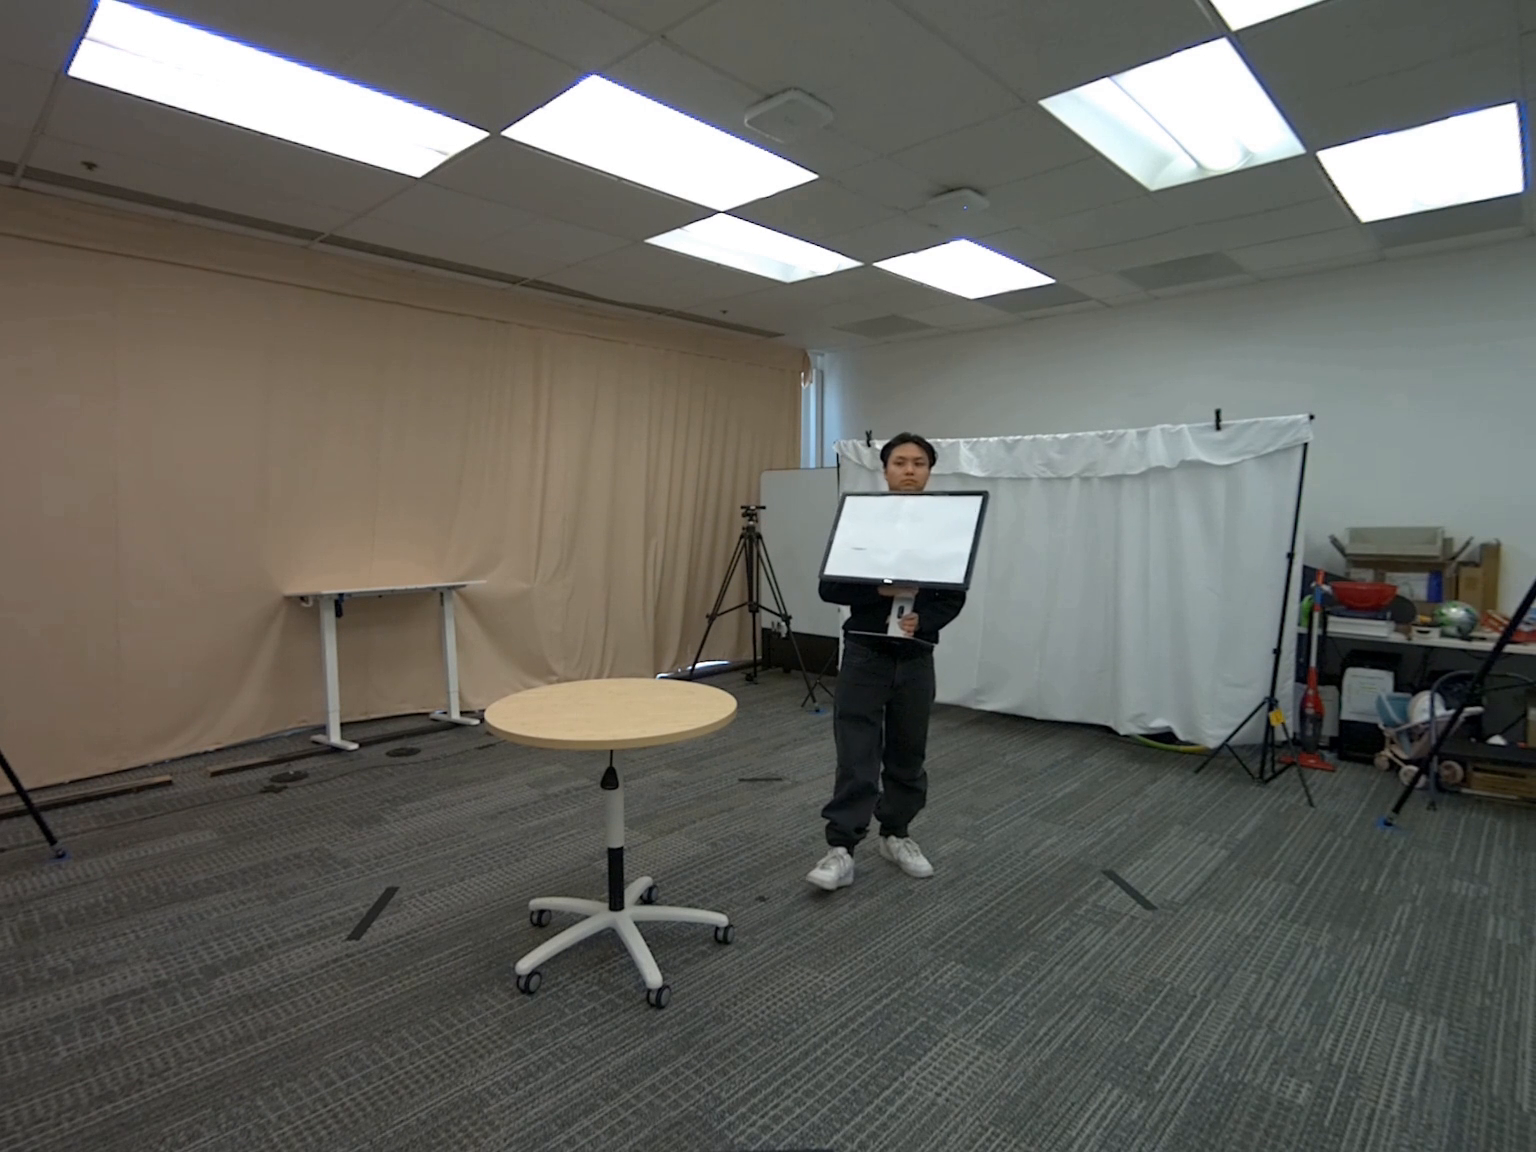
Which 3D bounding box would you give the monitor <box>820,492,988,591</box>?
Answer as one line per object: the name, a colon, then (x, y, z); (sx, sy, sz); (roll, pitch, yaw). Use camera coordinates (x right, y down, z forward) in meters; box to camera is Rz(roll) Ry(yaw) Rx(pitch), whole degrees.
monitor: (0.463, -0.042, 2.955); (0.547, 0.517, 0.169); (4, -6, 36)
